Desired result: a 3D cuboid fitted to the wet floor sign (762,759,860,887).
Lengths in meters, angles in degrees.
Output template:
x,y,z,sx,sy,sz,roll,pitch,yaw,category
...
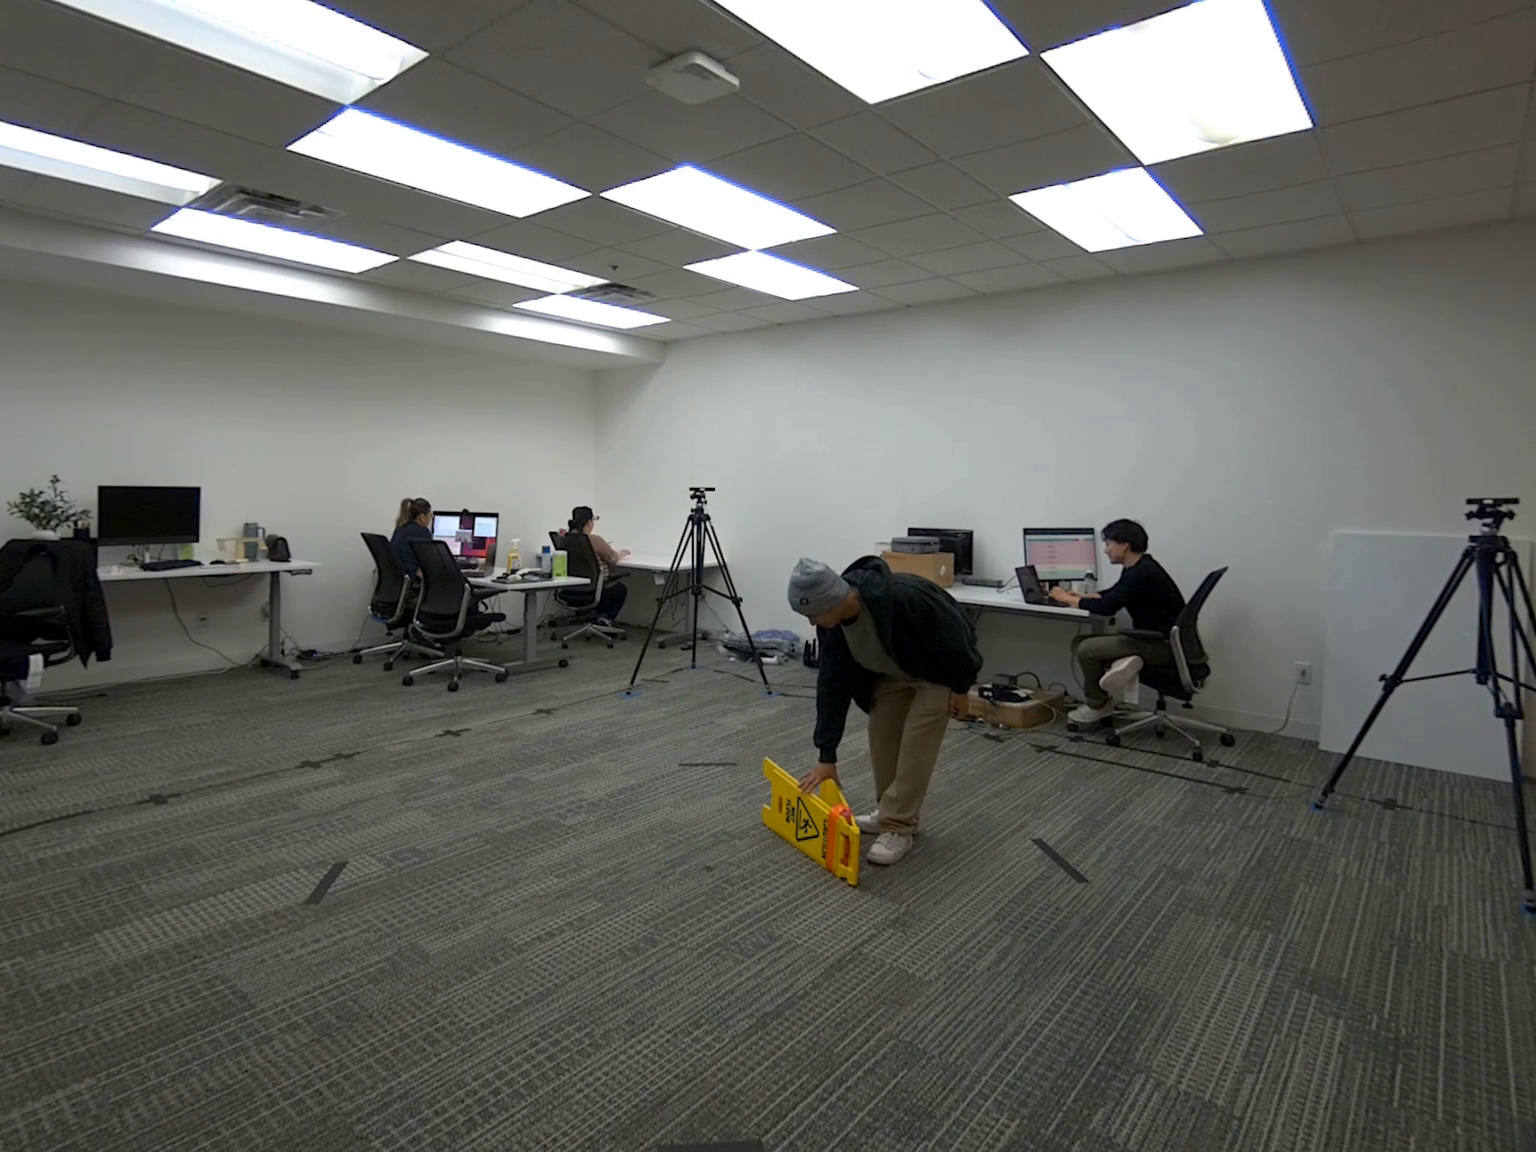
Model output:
x,y,z,sx,sy,sz,roll,pitch,yaw,category
0.203,0.933,3.277,0.284,0.280,0.662,0,9,-19,wet floor sign
